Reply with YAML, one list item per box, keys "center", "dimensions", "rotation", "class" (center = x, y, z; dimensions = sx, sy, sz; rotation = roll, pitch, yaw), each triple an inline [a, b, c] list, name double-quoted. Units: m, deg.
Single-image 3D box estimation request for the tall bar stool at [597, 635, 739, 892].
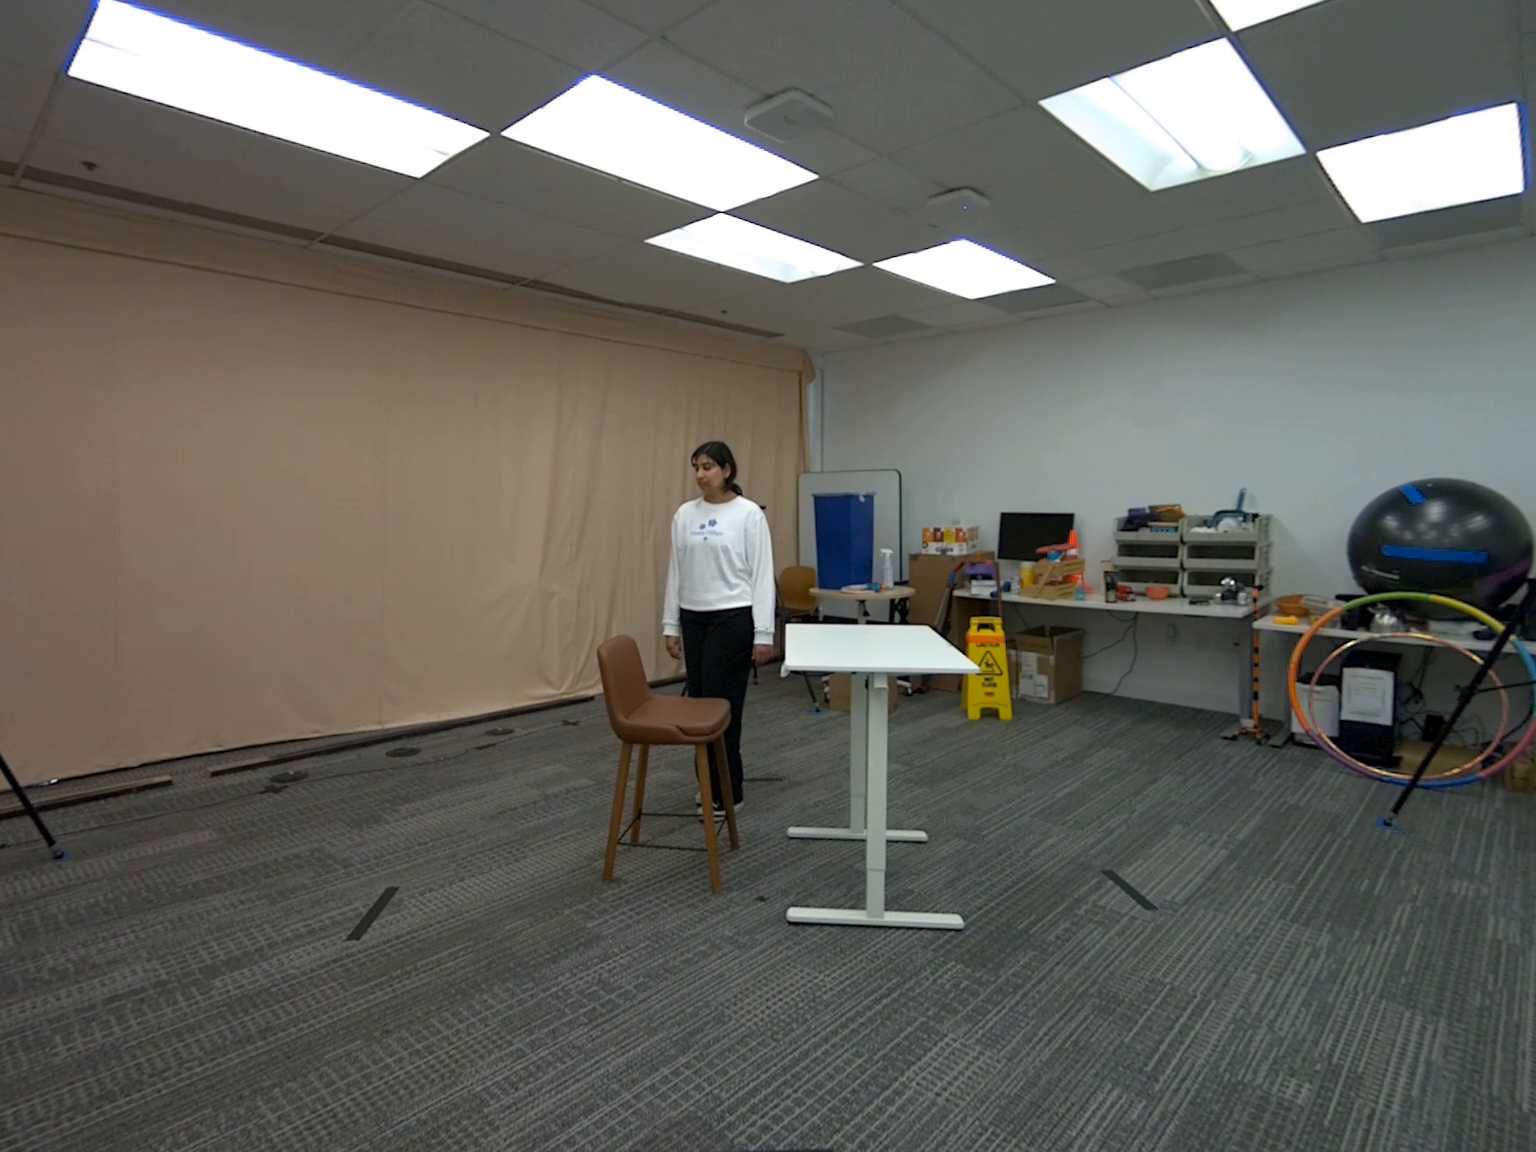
- center: [-0.376, 0.689, 3.249]
  dimensions: [0.474, 0.888, 0.451]
  rotation: [-2, 2, 11]
  class: "tall bar stool"
